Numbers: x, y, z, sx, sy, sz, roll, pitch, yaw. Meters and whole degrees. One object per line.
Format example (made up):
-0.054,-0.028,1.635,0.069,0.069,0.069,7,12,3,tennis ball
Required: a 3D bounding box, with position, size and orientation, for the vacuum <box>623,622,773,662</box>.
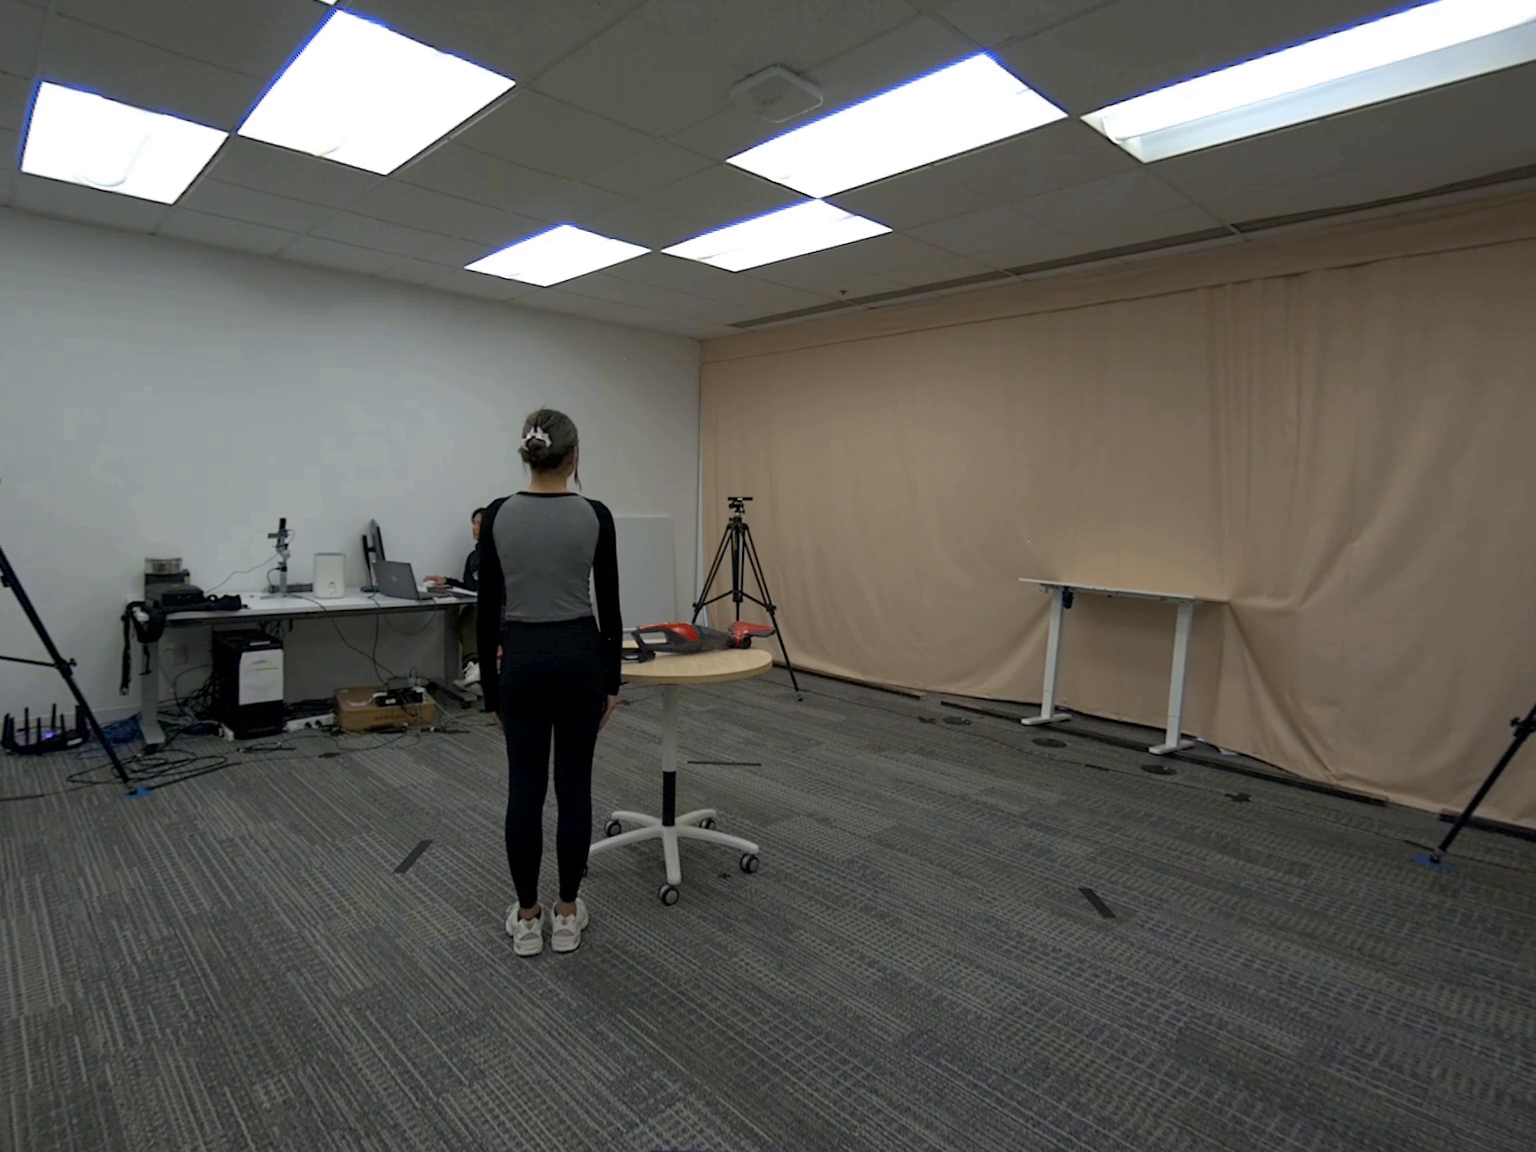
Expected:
-0.487,0.261,3.095,1.025,0.143,0.259,-1,6,-41,vacuum
